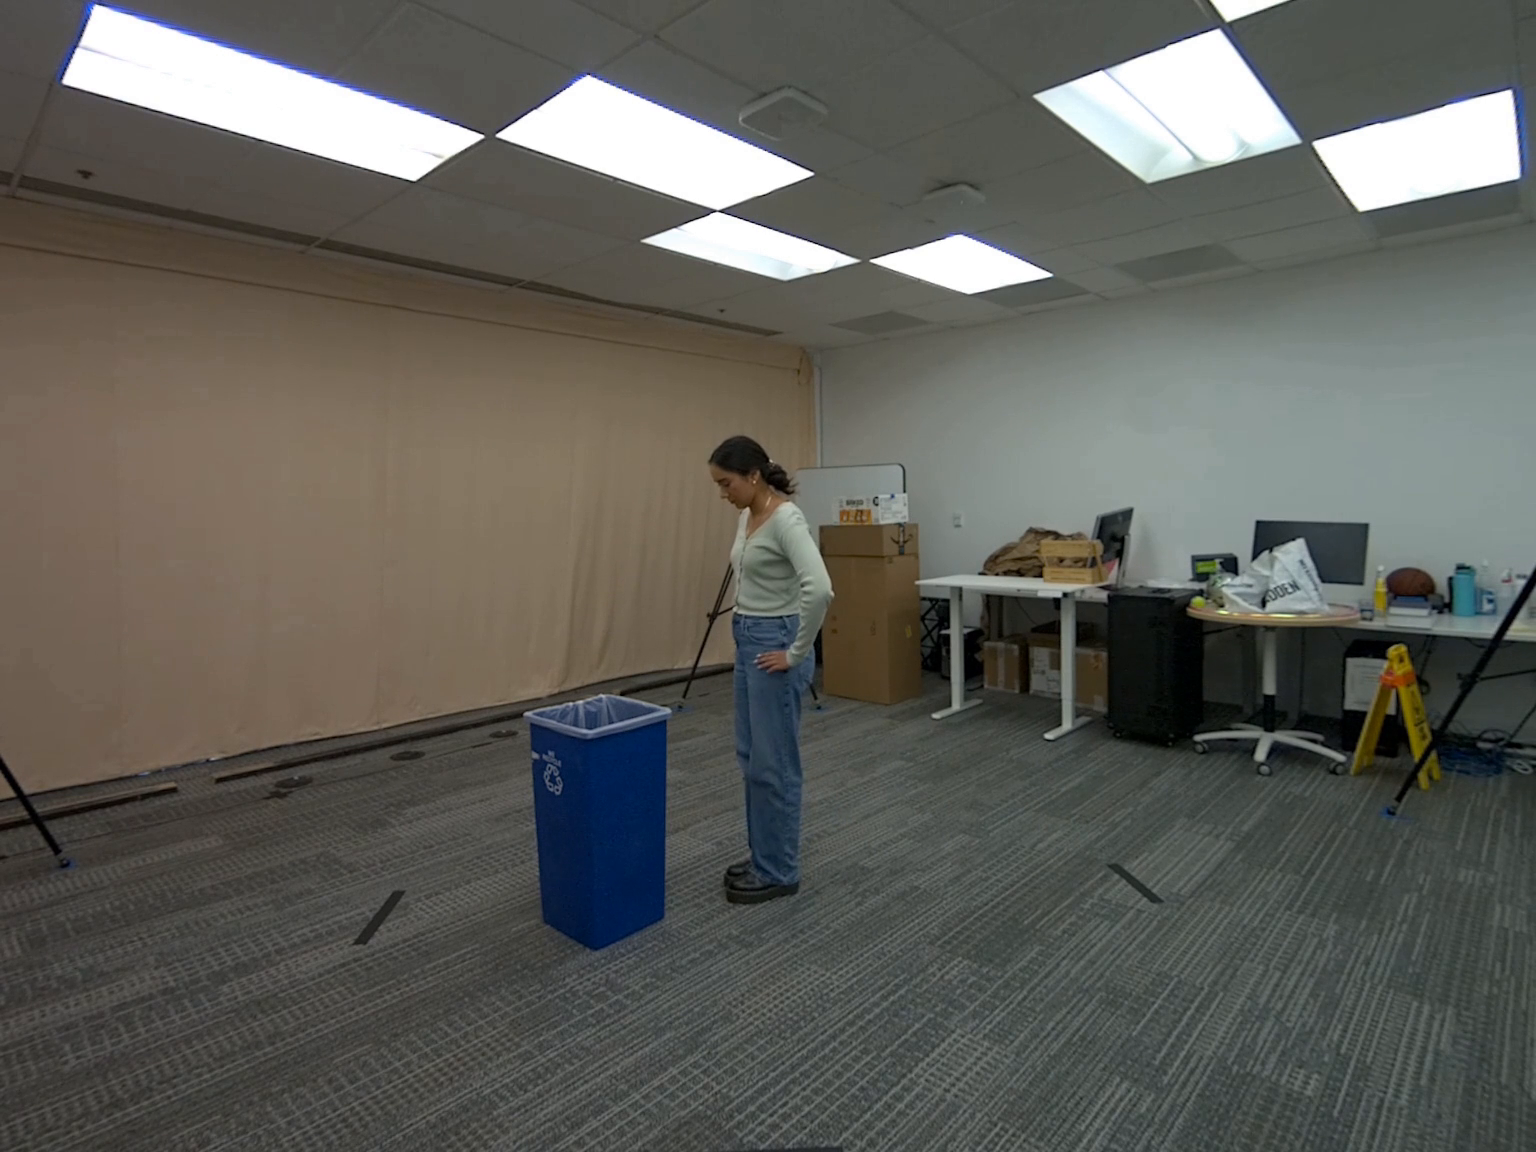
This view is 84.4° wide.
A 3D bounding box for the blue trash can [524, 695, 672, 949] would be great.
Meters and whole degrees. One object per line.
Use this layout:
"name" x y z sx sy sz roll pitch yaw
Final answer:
"blue trash can" -0.565 0.809 2.823 0.390 0.712 0.363 2 4 42
